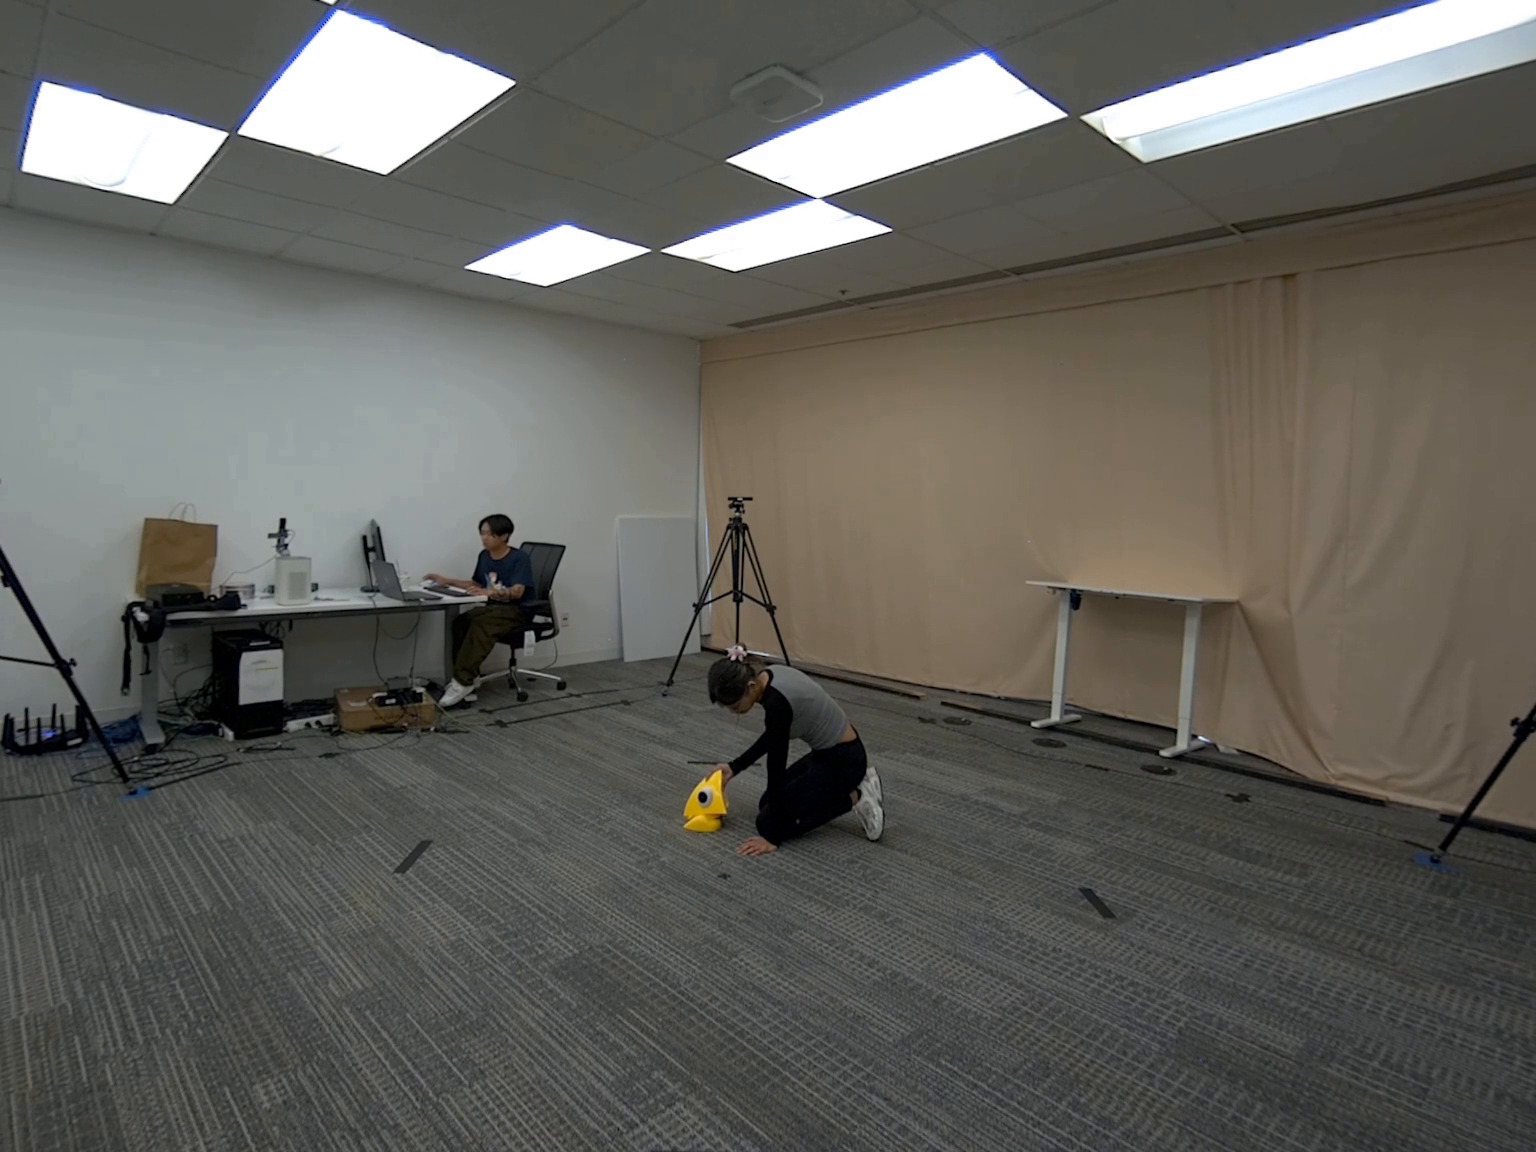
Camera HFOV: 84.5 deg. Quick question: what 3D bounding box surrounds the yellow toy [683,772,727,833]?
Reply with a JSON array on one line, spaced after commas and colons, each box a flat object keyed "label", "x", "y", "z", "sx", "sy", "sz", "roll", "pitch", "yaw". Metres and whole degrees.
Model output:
[{"label": "yellow toy", "x": -0.269, "y": 0.941, "z": 3.611, "sx": 0.193, "sy": 0.230, "sz": 0.205, "roll": 2, "pitch": 3, "yaw": 0}]
